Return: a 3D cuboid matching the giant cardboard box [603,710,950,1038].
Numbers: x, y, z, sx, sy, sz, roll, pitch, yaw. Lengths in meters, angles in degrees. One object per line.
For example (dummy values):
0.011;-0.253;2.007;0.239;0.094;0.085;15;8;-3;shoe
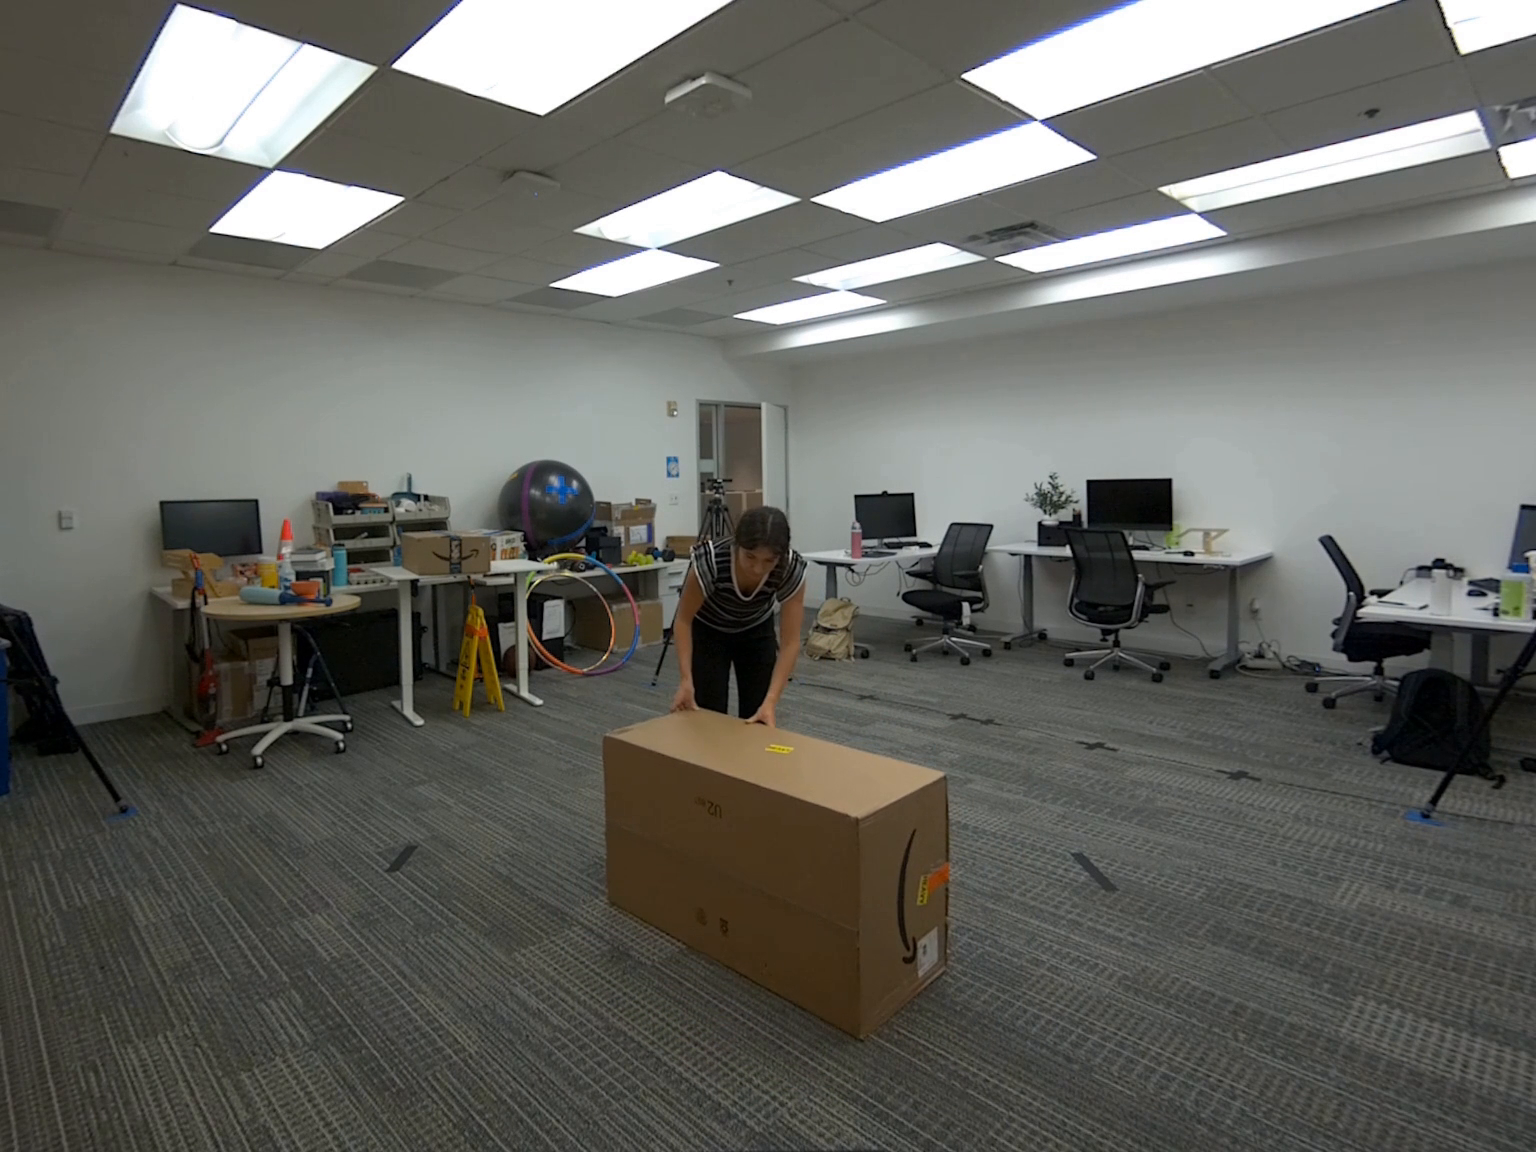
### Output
-0.010;0.814;2.605;1.058;0.575;0.415;5;7;43;giant cardboard box
